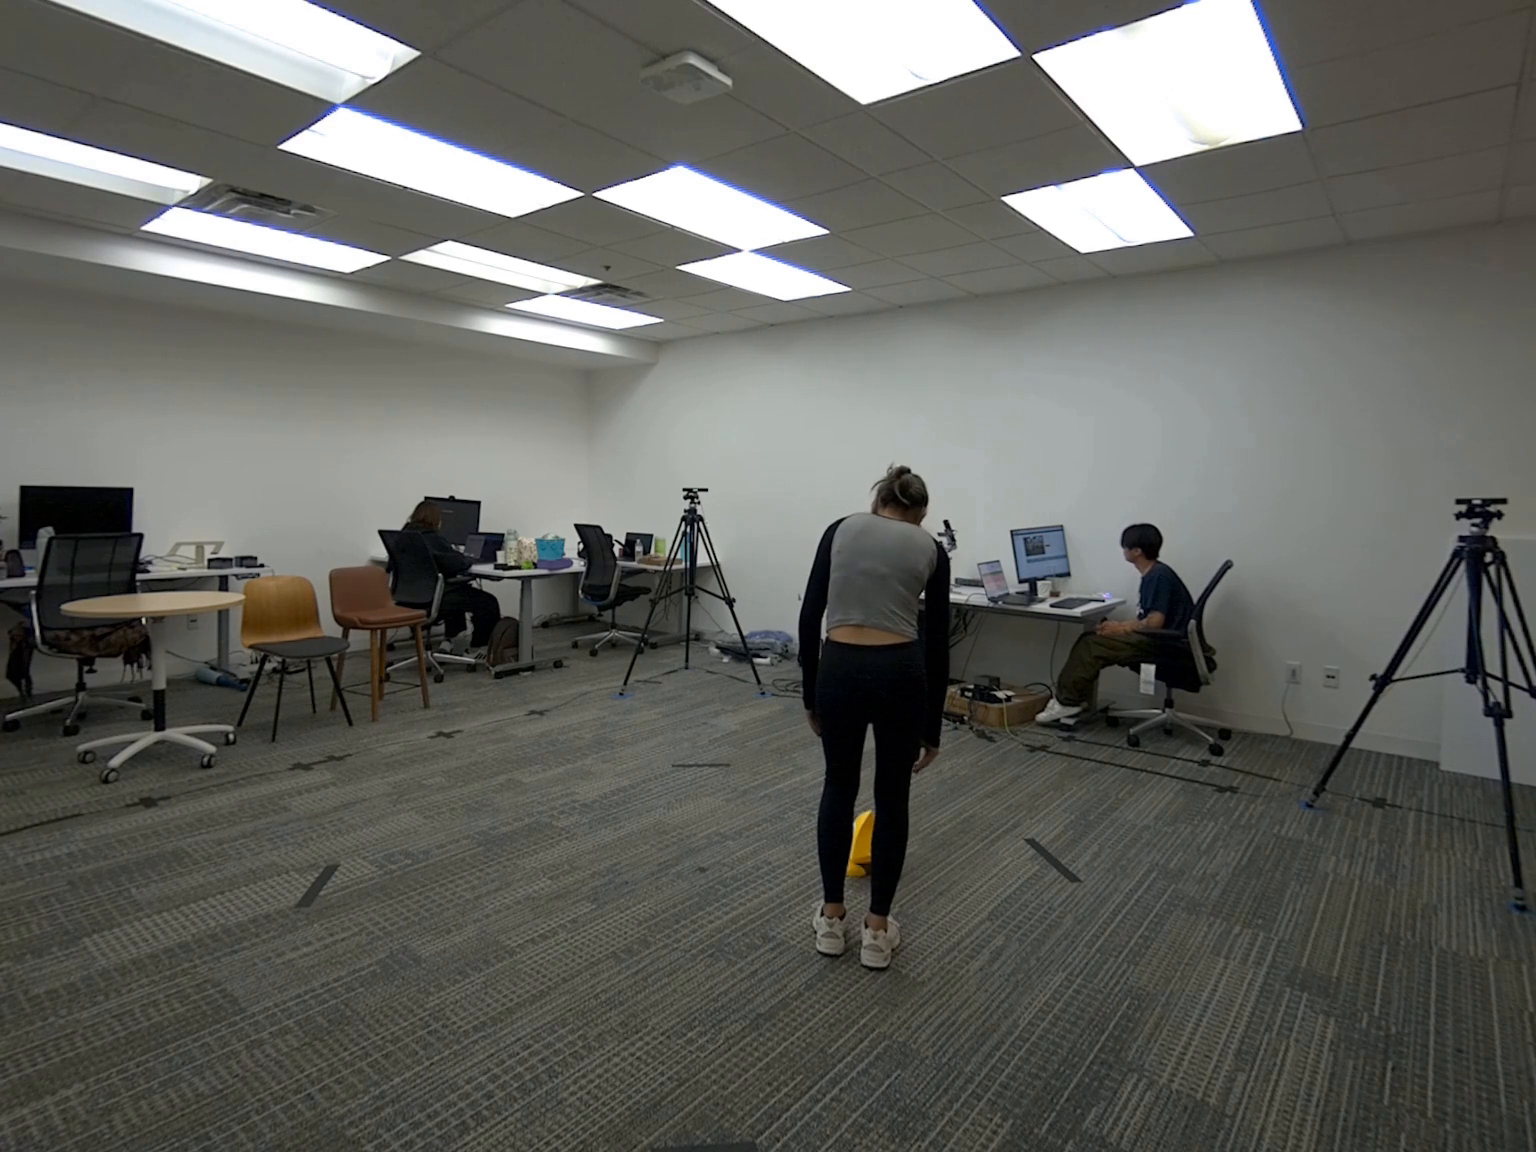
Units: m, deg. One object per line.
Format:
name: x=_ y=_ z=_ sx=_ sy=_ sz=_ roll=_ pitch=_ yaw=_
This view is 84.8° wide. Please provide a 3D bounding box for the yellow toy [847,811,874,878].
yellow toy: x=0.345 y=0.958 z=3.151 sx=0.200 sy=0.230 sz=0.198 roll=-1 pitch=4 yaw=-23
